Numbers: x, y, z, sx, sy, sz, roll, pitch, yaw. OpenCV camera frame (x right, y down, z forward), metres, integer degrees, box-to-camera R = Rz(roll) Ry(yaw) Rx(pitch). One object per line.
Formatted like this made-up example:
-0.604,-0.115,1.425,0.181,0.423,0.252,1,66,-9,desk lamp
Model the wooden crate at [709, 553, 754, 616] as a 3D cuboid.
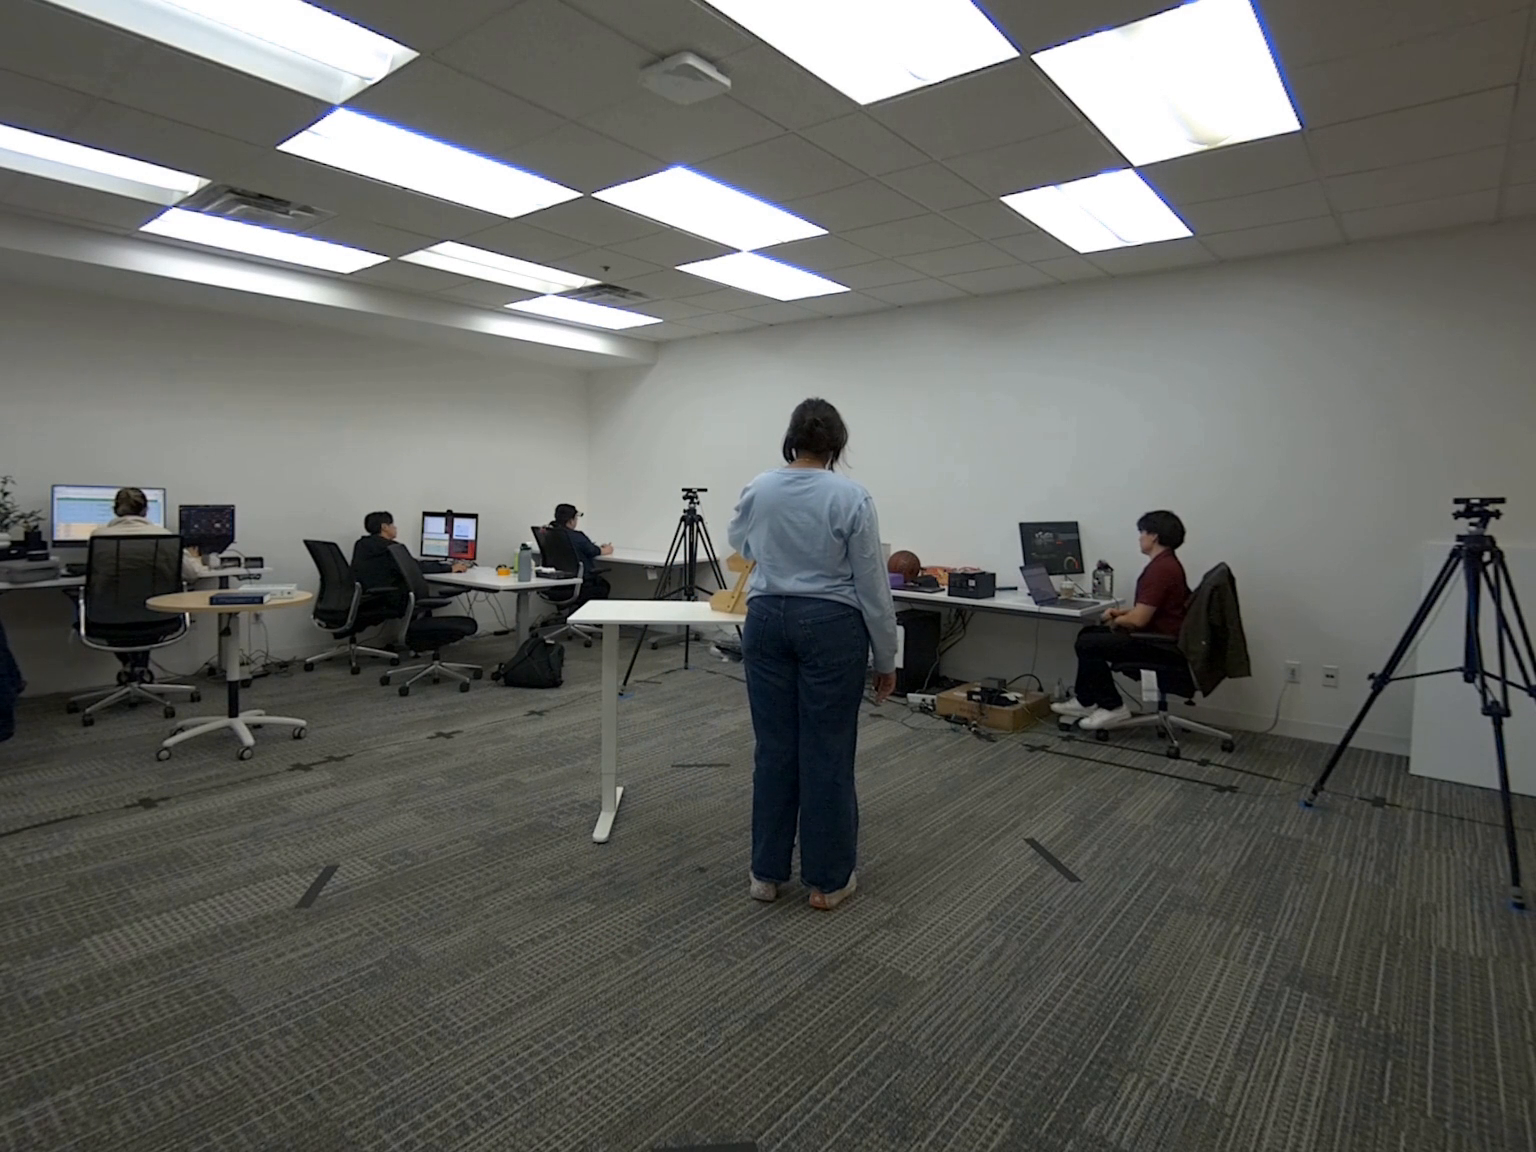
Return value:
-0.053,0.008,3.585,0.312,0.272,0.315,5,7,36,wooden crate
